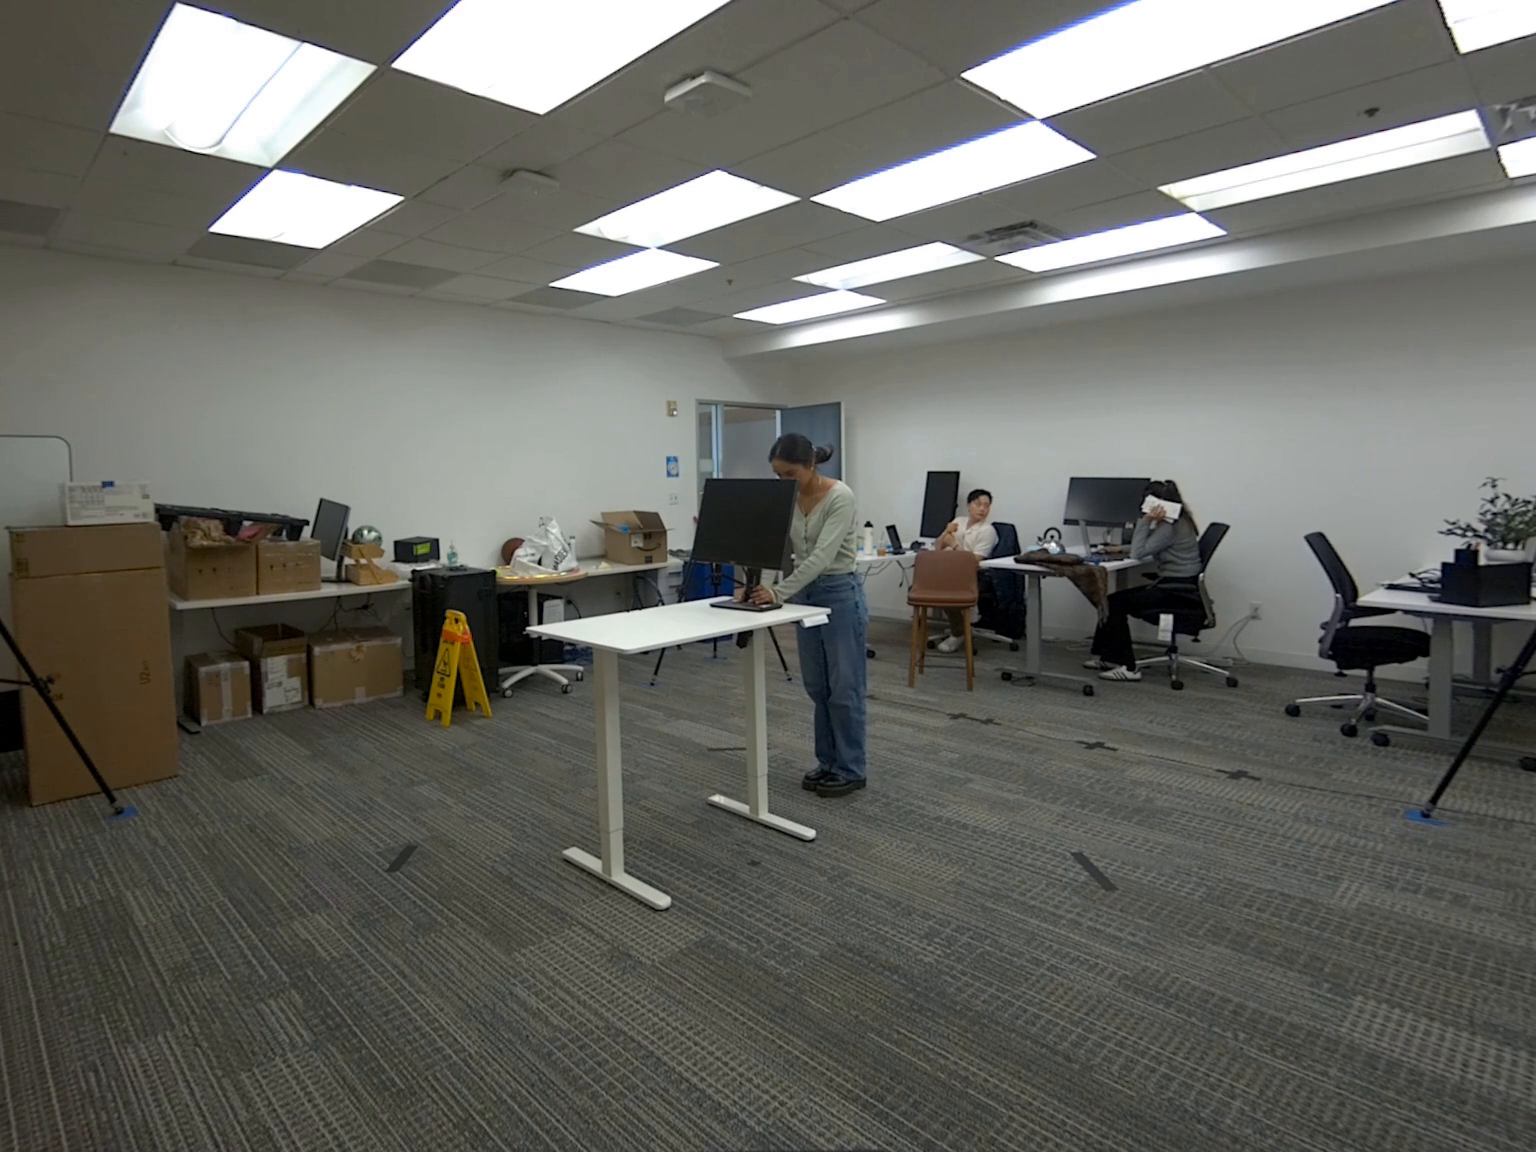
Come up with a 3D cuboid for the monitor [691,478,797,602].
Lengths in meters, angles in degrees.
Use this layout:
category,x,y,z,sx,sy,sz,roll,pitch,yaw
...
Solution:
category,x,y,z,sx,sy,sz,roll,pitch,yaw
monitor,-0.083,-0.129,3.418,0.182,0.521,0.556,-2,6,-45
